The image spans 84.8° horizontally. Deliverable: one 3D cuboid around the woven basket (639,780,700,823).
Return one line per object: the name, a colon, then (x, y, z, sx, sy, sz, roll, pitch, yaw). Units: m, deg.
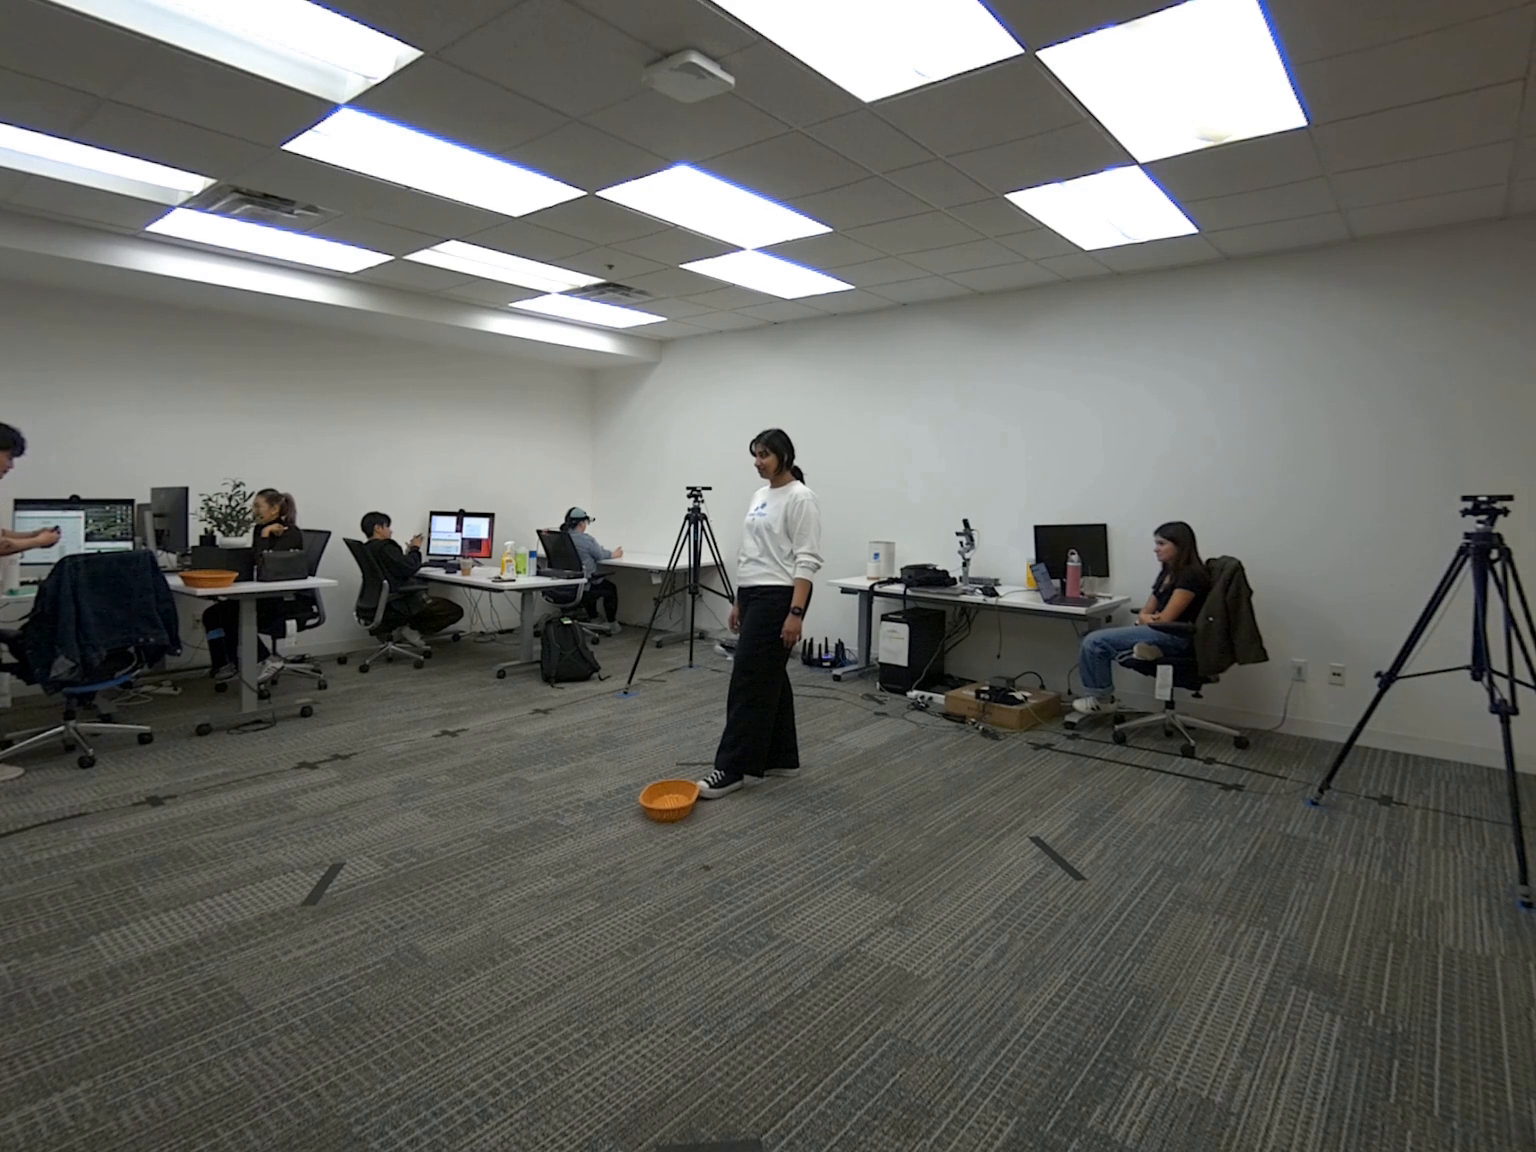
woven basket: (-0.424, 0.967, 3.671, 0.255, 0.073, 0.348, 0, 6, 10)
